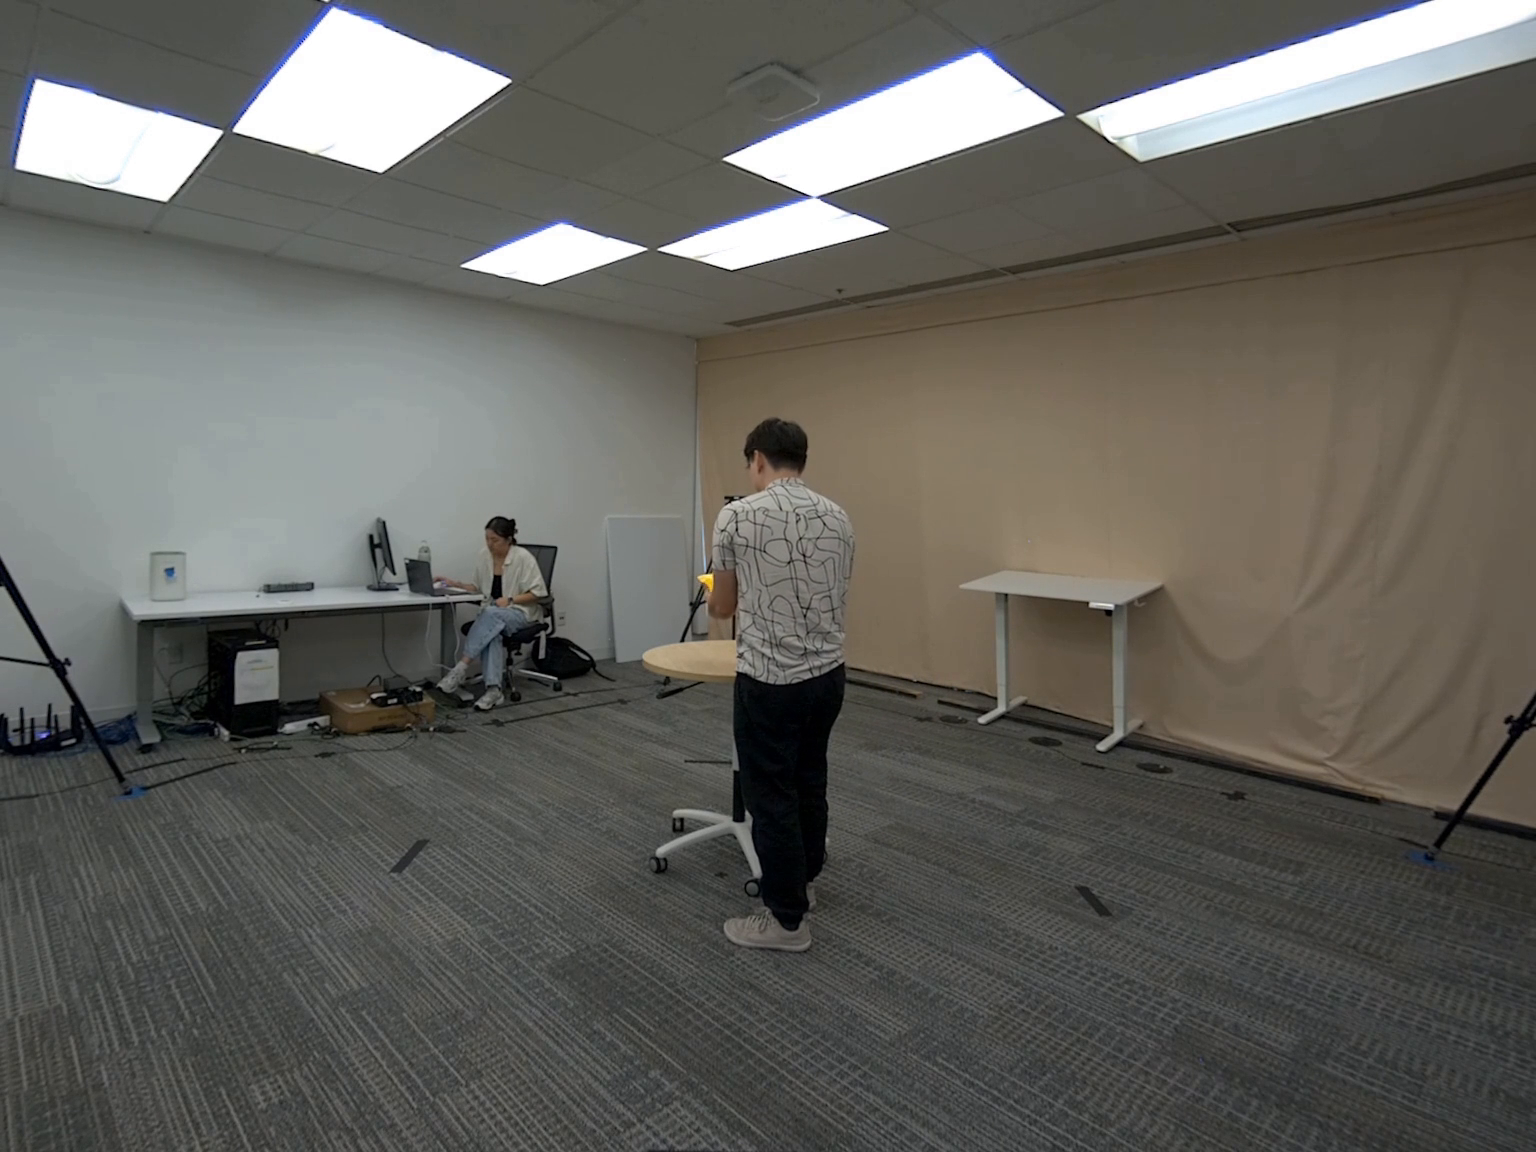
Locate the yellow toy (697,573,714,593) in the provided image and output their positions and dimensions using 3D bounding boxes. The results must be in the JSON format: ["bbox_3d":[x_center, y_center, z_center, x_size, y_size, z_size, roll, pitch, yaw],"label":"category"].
[{"bbox_3d":[-0.102,-0.003,3.061,0.198,0.230,0.199,43,3,29],"label":"yellow toy"}]
